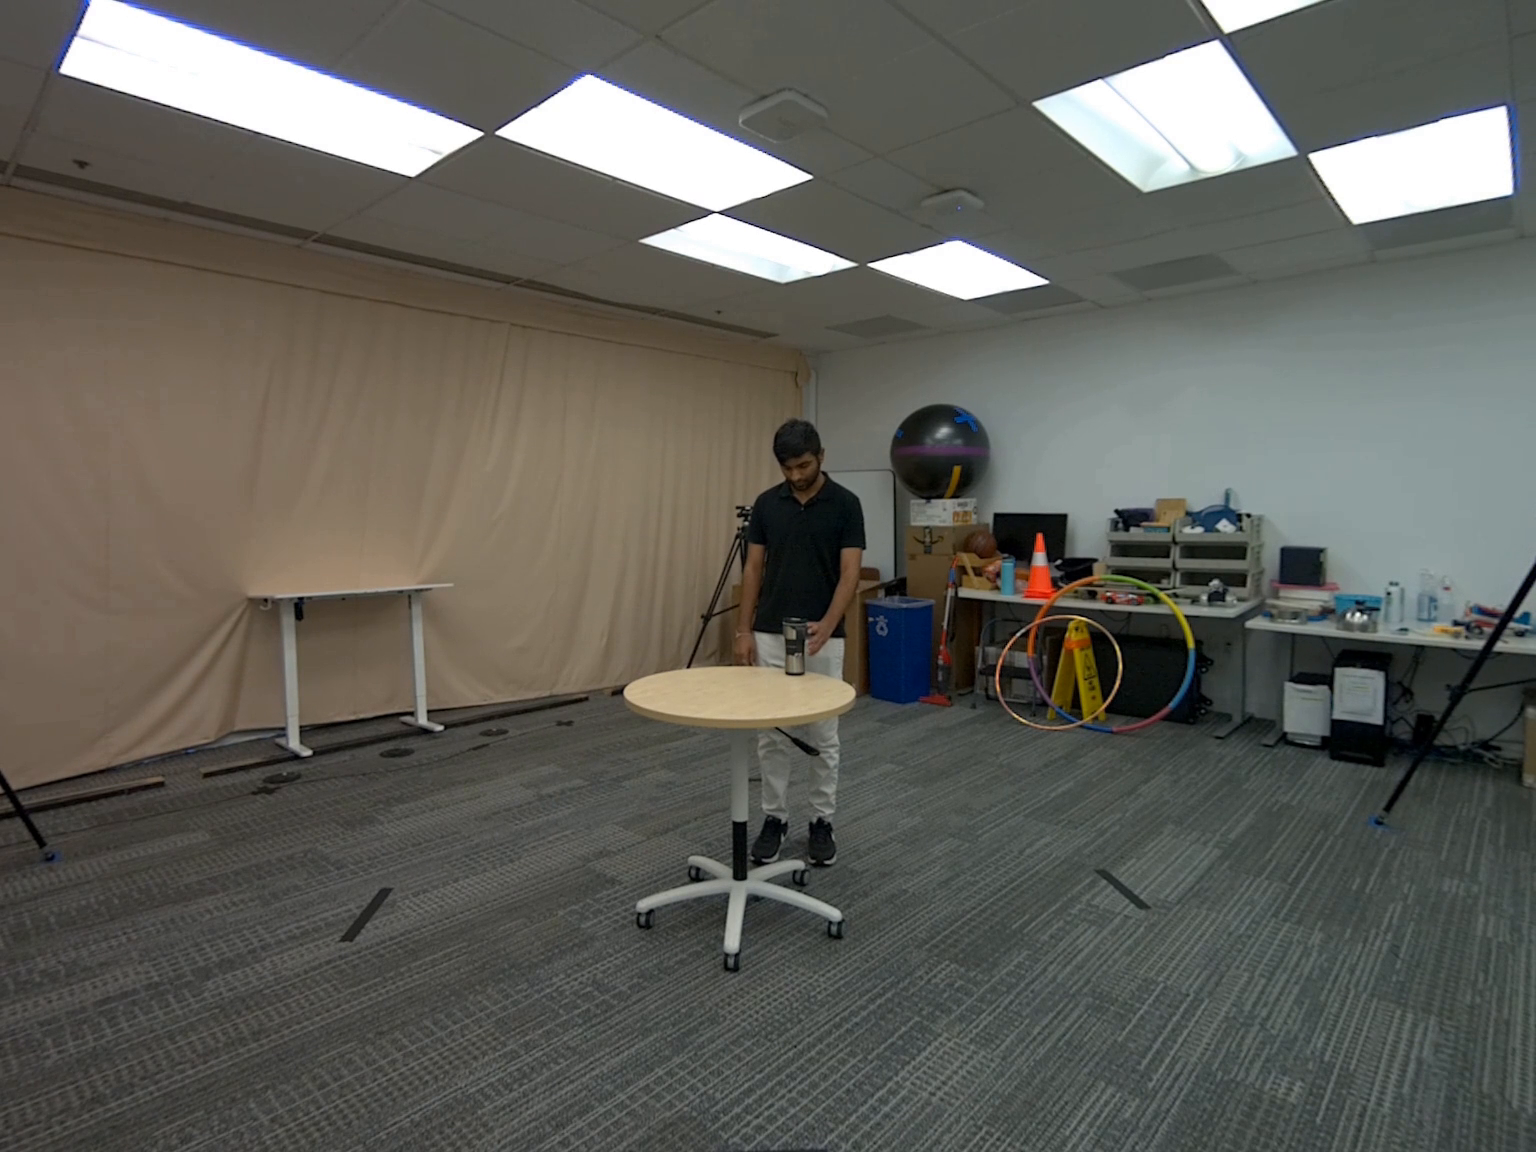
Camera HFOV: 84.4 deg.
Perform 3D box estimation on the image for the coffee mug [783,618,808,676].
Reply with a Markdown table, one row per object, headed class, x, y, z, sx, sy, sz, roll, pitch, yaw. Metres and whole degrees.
| class | x | y | z | sx | sy | sz | roll | pitch | yaw |
| --- | --- | --- | --- | --- | --- | --- | --- | --- | --- |
| coffee mug | 0.103 | 0.256 | 3.020 | 0.089 | 0.203 | 0.120 | 3 | 2 | 15 |
